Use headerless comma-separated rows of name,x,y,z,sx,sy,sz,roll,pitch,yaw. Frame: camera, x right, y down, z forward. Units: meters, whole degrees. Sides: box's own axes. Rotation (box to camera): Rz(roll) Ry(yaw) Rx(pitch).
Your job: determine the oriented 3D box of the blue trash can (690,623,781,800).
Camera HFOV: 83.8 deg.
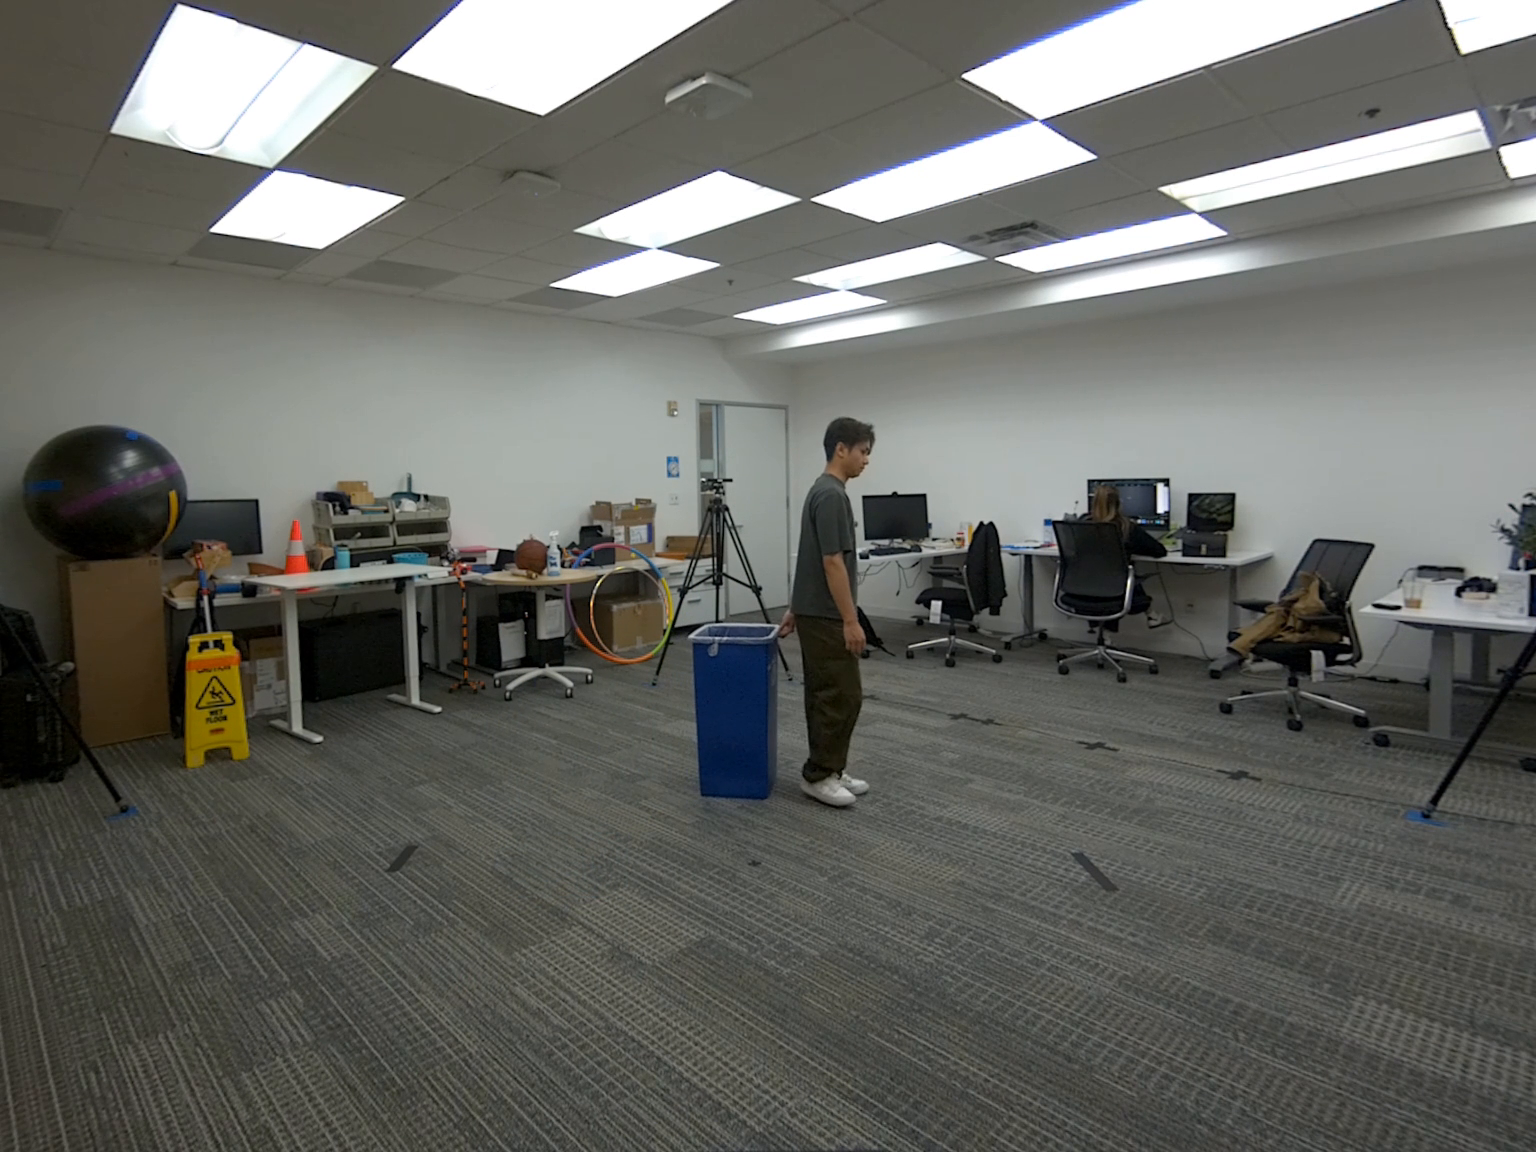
blue trash can,-0.139,0.600,3.886,0.382,0.711,0.371,0,4,11
